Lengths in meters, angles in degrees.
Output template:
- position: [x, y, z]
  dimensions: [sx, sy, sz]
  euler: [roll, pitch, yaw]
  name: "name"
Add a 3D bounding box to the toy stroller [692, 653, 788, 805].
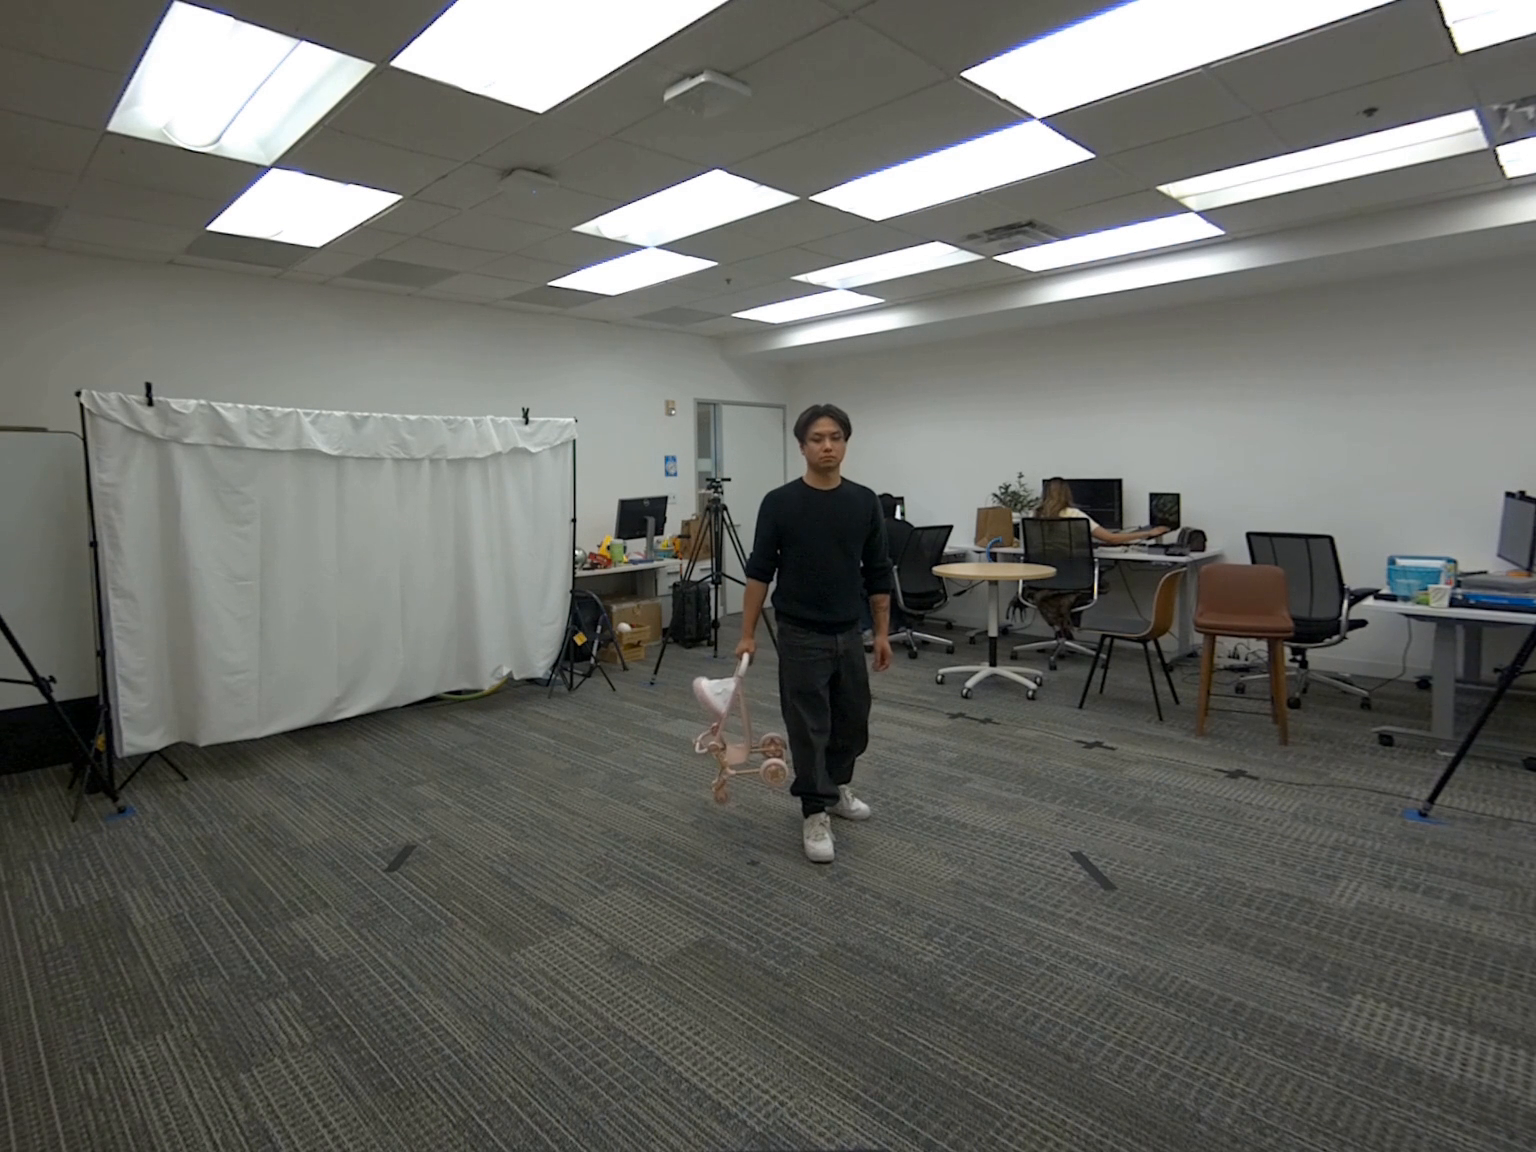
- position: [-0.150, 0.583, 3.244]
  dimensions: [0.343, 0.530, 0.283]
  euler: [-19, 8, 8]
  name: "toy stroller"
